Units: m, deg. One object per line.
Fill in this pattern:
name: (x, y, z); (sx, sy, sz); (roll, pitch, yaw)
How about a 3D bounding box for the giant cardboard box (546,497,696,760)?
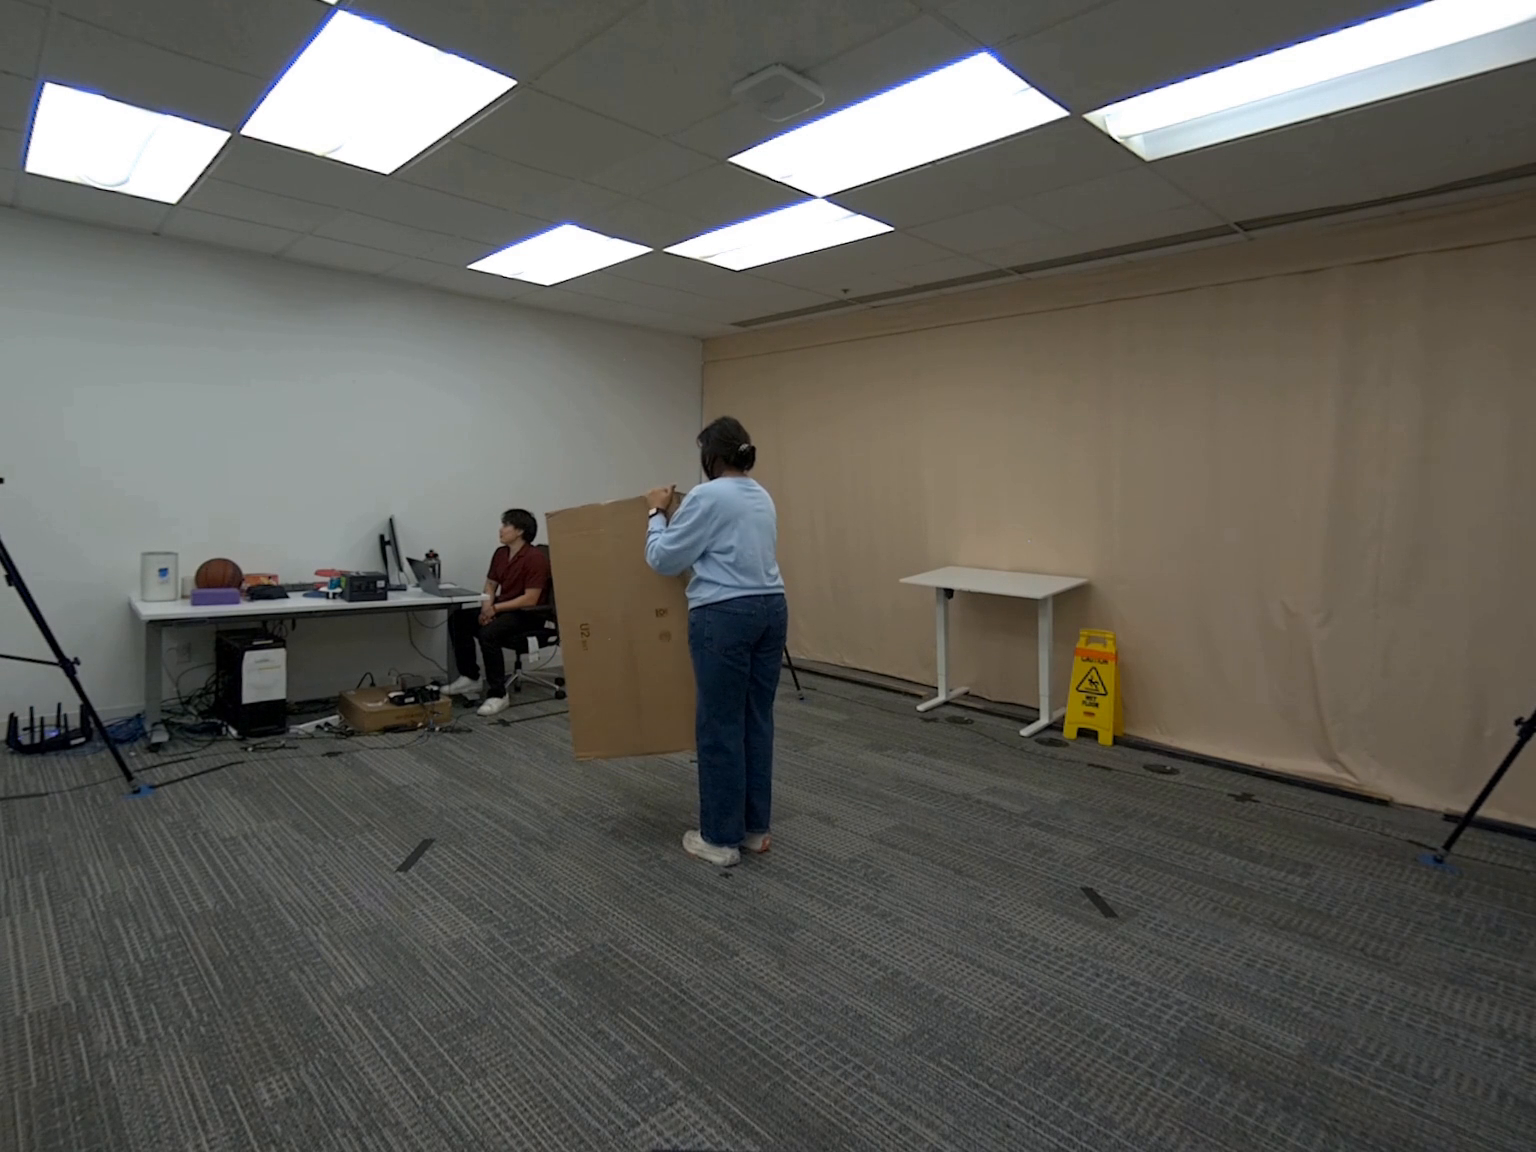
giant cardboard box: (-0.533, 0.200, 3.565); (0.590, 1.030, 0.440); (-8, -4, 16)
